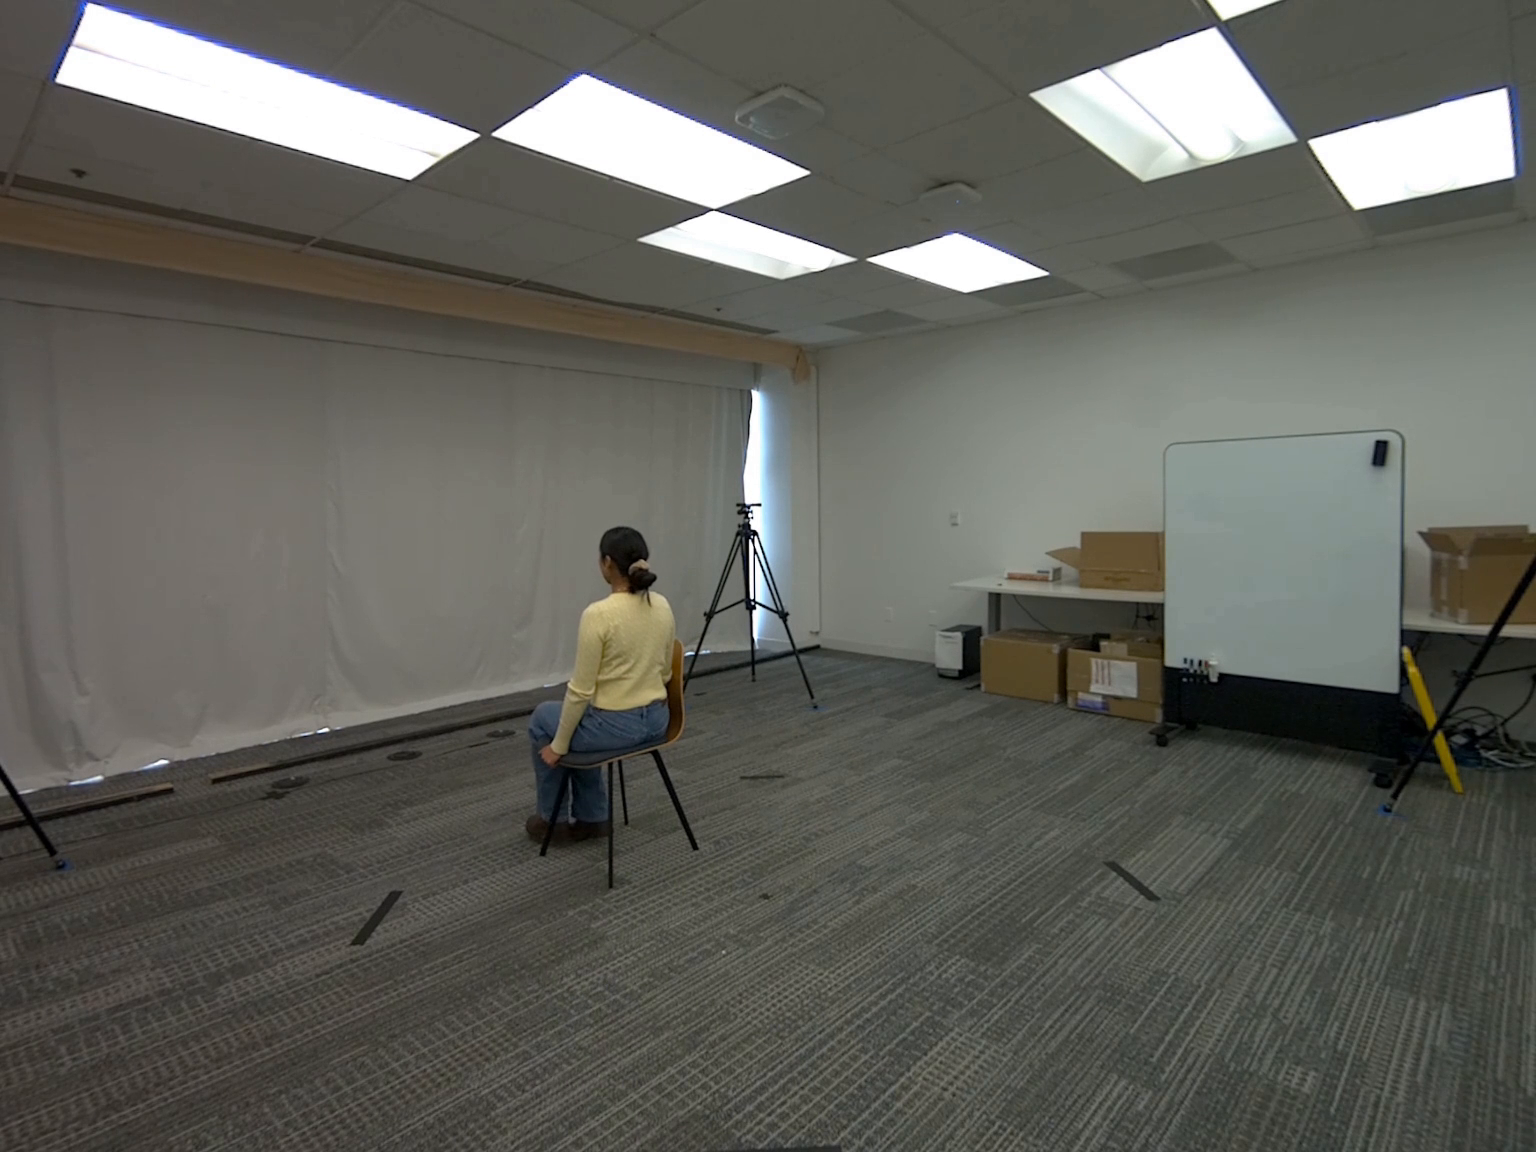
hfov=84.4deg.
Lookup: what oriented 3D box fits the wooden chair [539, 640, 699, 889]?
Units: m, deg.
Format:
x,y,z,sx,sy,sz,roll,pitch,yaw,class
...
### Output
x,y,z,sx,sy,sz,roll,pitch,yaw,class
-0.605,0.693,3.352,0.494,0.877,0.506,1,0,42,wooden chair
